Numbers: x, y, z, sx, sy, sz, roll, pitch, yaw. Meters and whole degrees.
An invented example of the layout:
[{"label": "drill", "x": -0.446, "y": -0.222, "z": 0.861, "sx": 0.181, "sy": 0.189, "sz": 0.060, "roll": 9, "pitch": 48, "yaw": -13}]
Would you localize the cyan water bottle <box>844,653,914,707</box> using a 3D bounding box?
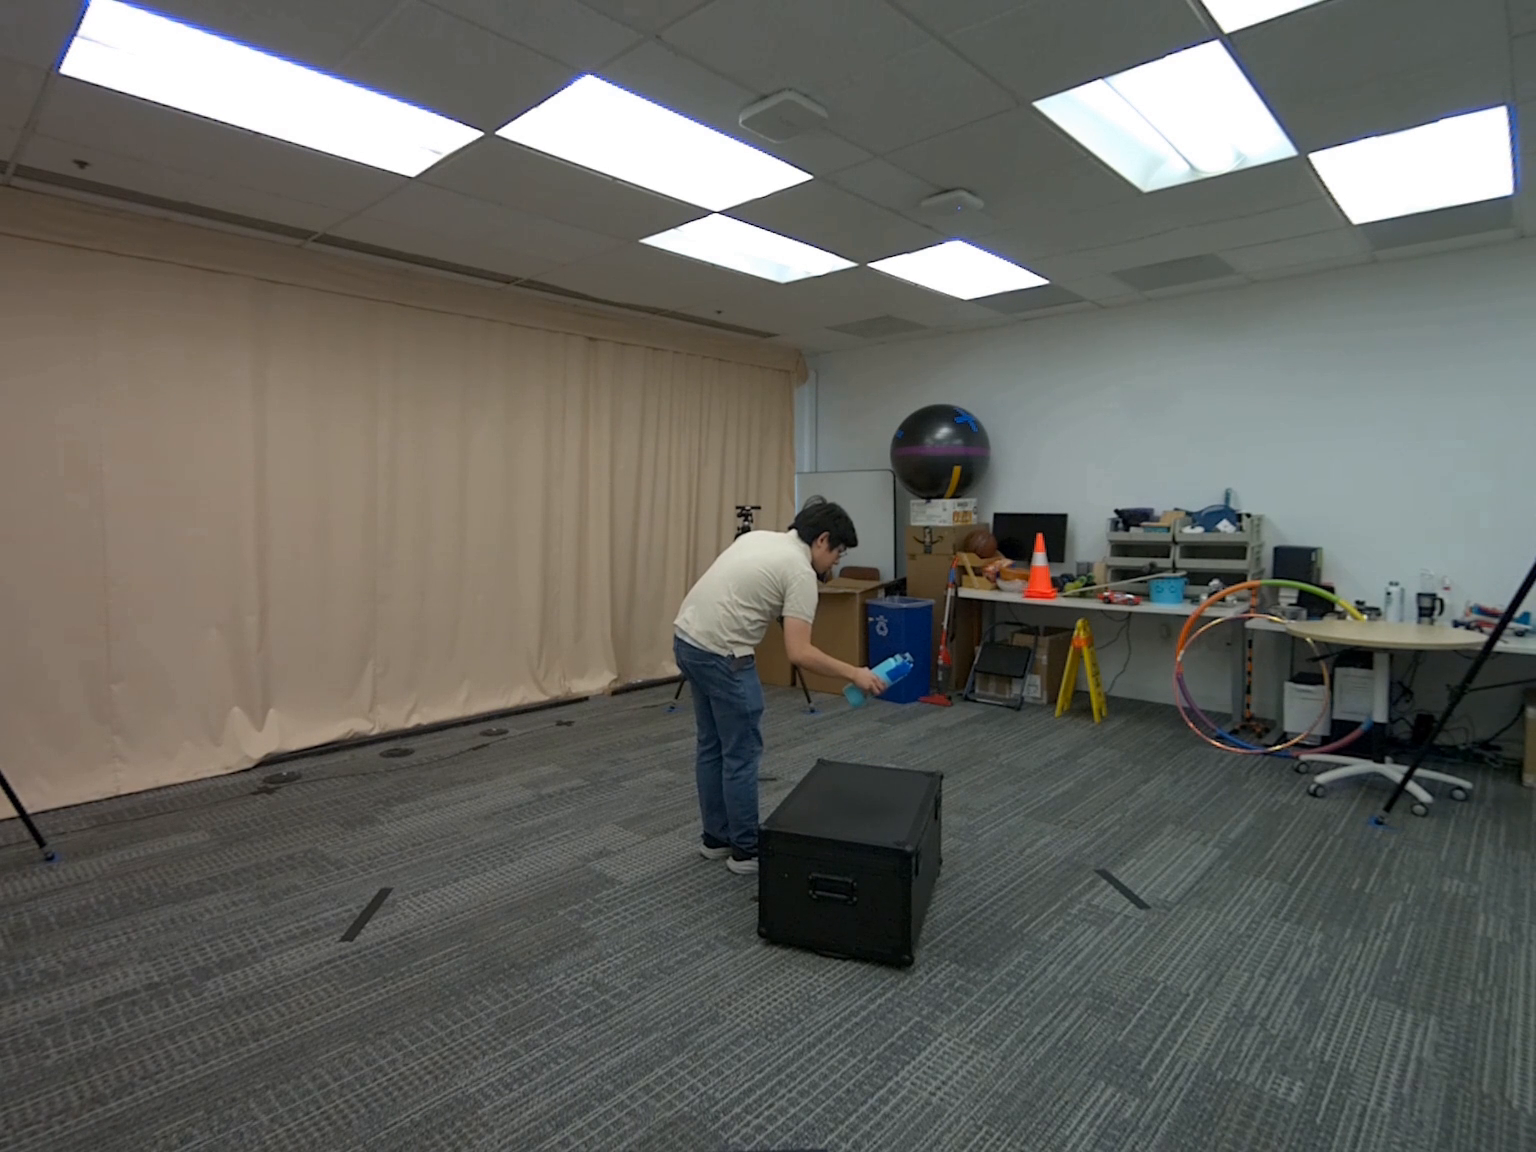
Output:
[{"label": "cyan water bottle", "x": 0.432, "y": 0.391, "z": 3.177, "sx": 0.285, "sy": 0.093, "sz": 0.091, "roll": -35, "pitch": -3, "yaw": 11}]
